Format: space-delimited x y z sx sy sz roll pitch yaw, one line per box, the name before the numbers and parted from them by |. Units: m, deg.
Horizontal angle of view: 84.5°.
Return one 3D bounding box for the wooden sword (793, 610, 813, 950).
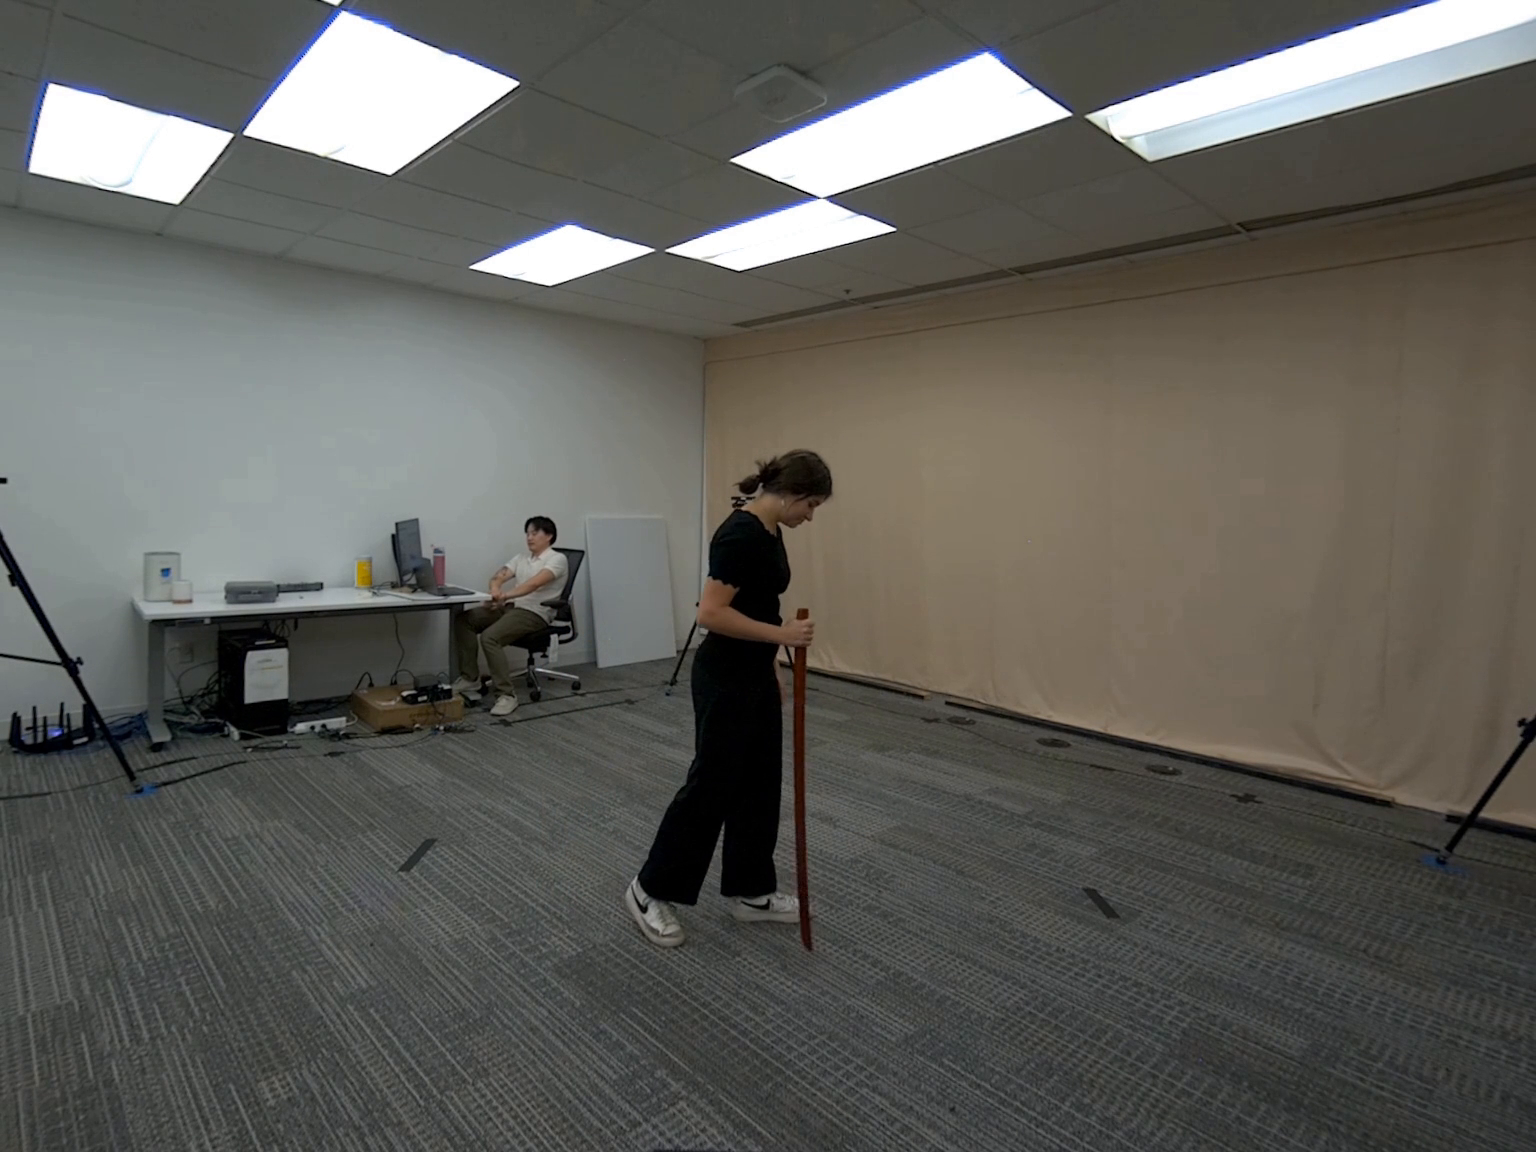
wooden sword | 0.077 0.642 2.540 0.024 1.024 0.052 -2 0 -13
